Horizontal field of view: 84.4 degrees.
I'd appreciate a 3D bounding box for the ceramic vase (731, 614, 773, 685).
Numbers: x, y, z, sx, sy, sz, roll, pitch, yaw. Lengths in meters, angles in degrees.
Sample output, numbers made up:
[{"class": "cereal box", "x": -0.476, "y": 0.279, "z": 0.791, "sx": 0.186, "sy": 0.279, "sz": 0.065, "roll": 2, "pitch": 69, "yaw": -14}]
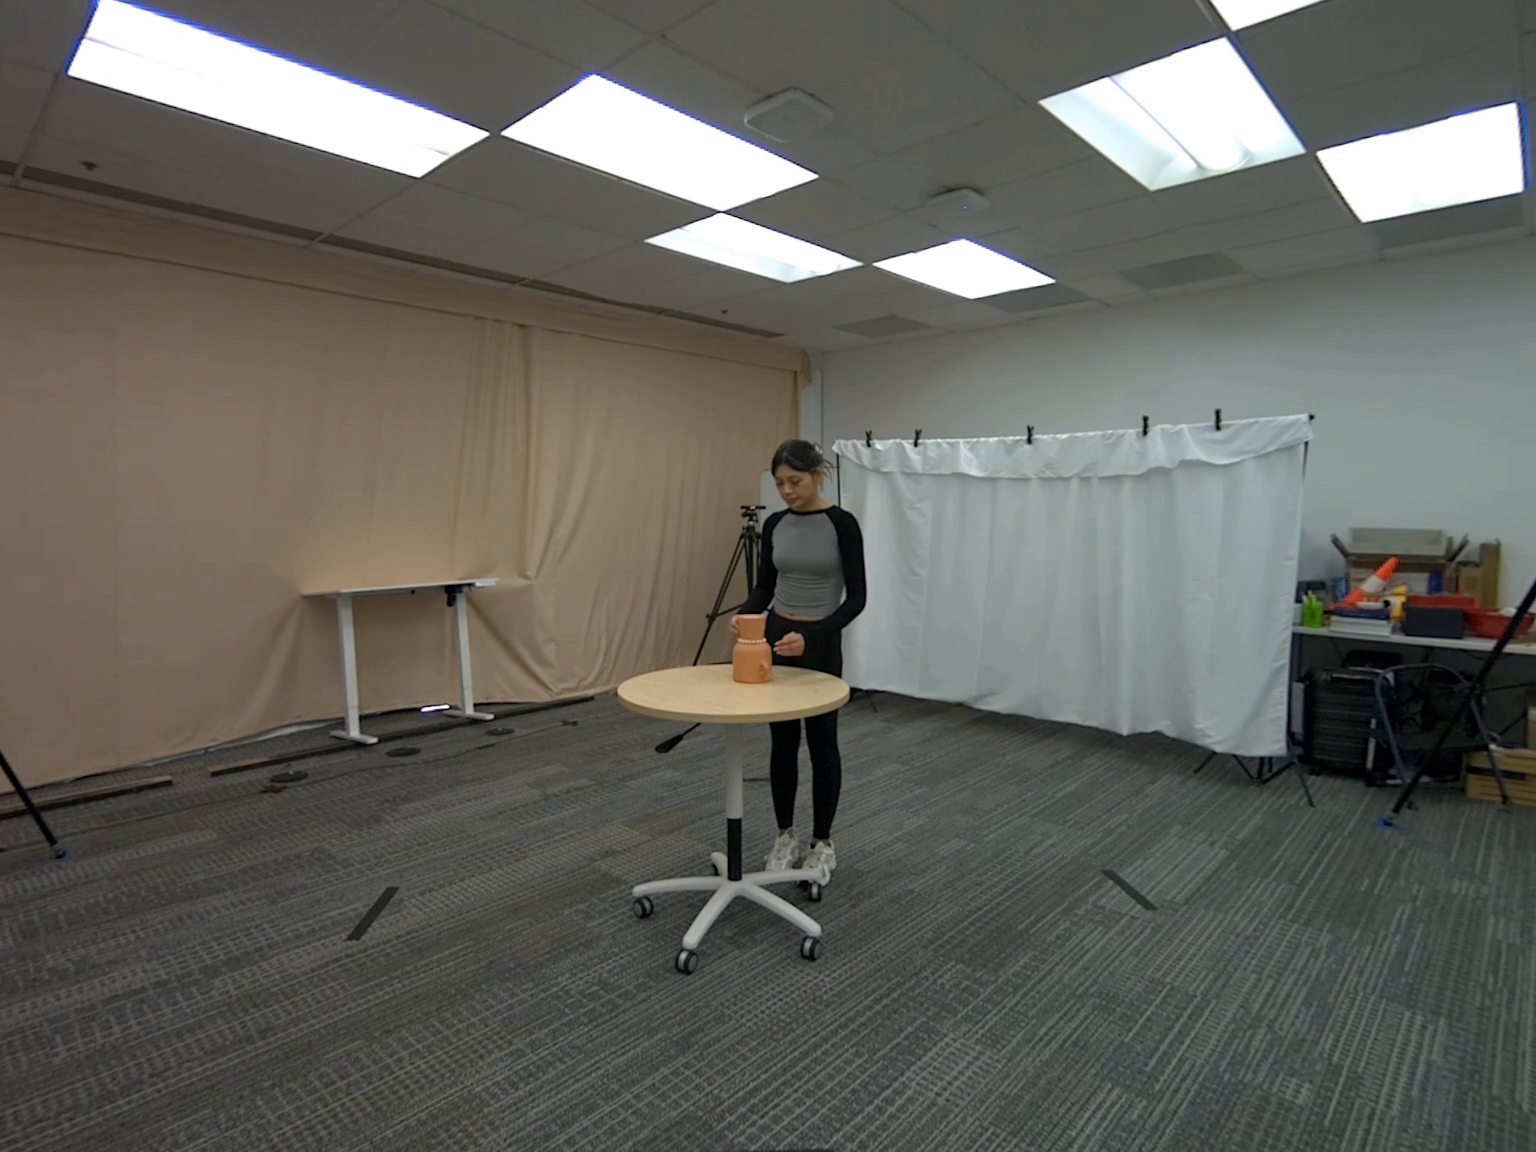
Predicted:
[{"class": "ceramic vase", "x": -0.054, "y": 0.247, "z": 2.898, "sx": 0.162, "sy": 0.219, "sz": 0.132, "roll": 1, "pitch": 2, "yaw": 21}]
